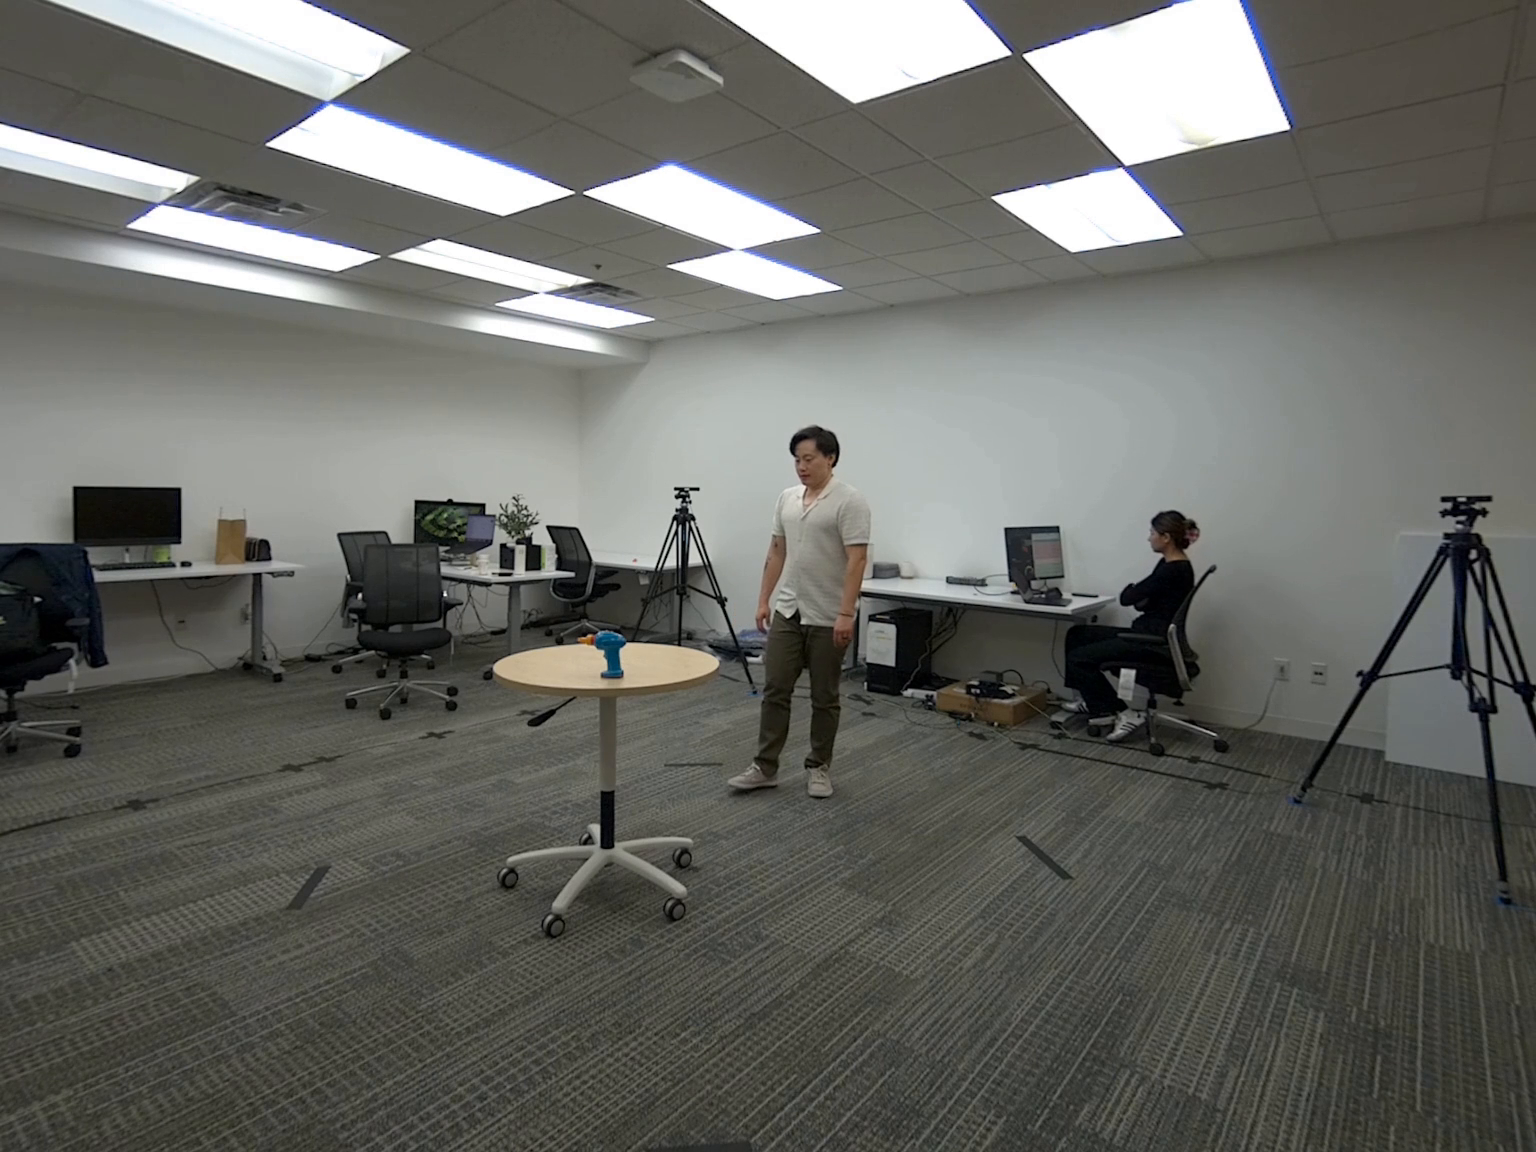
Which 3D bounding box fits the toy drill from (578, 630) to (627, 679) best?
[{"bbox_3d":[-0.539,0.246,2.700,0.172,0.146,0.060,1,1,11],"label":"toy drill"}]
